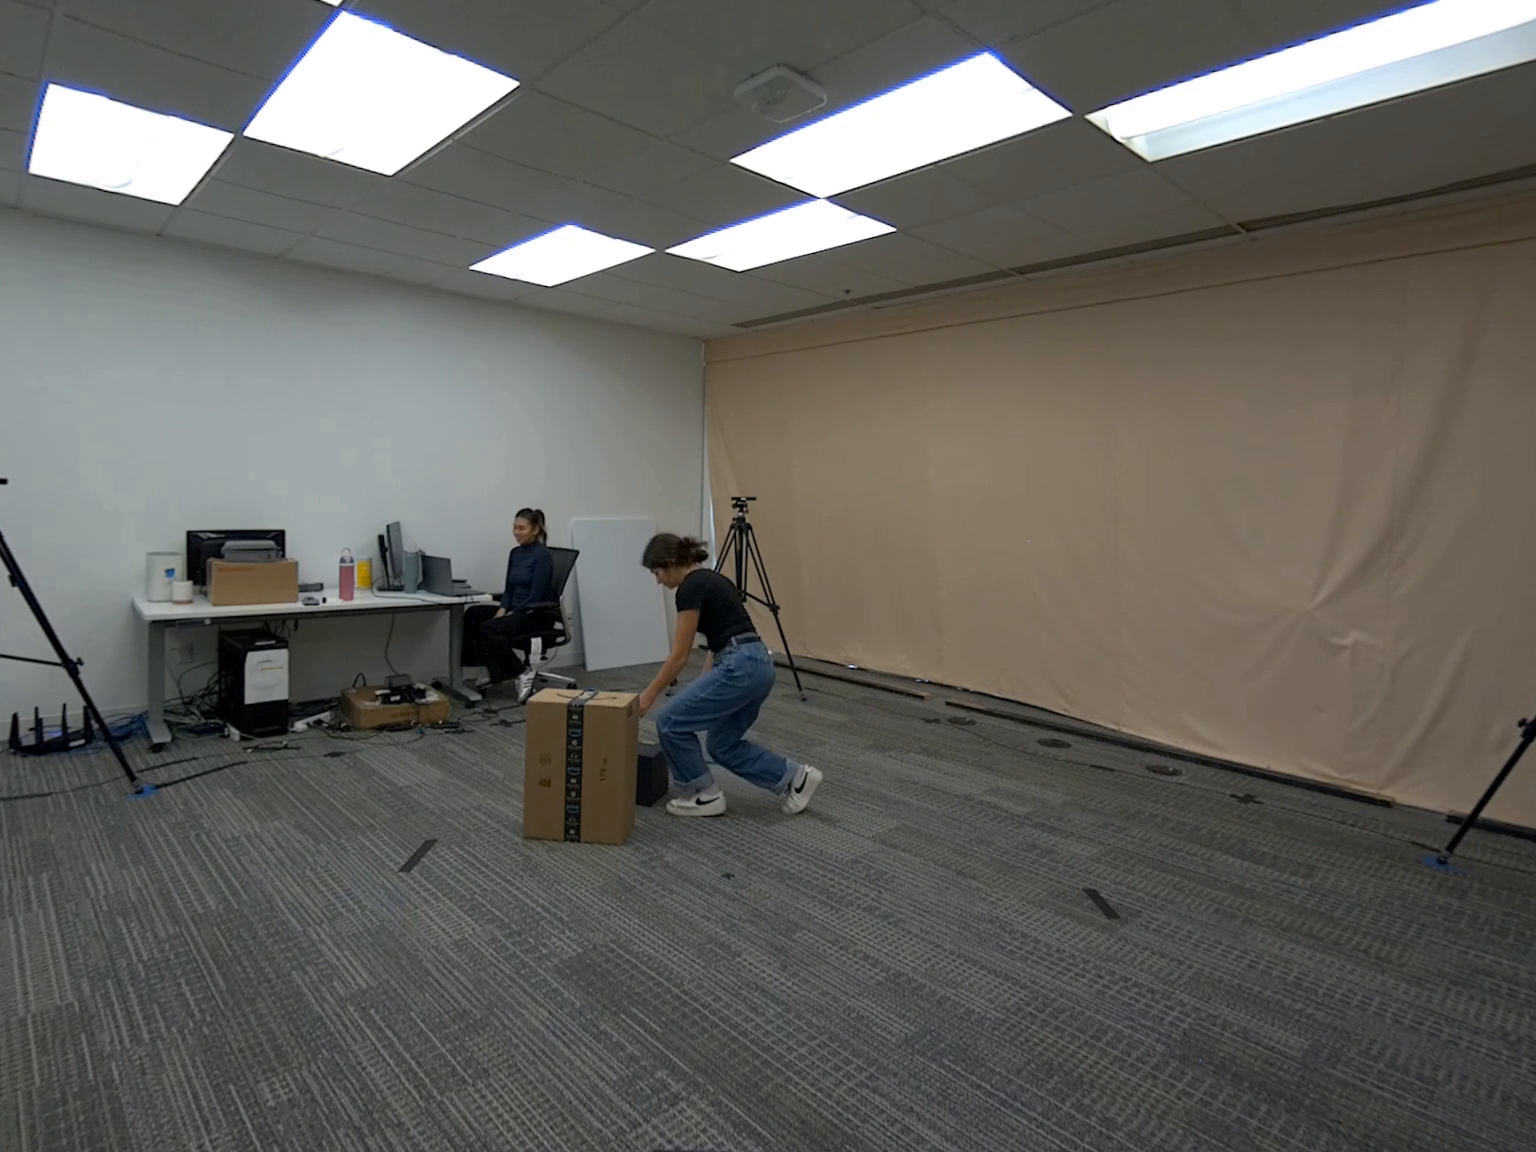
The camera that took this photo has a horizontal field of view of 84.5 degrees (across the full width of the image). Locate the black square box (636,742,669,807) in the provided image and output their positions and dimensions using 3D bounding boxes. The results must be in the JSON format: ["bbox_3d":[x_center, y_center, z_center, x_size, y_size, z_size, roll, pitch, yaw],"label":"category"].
[{"bbox_3d":[-0.570,0.901,3.900,0.158,0.227,0.215,3,4,16],"label":"black square box"}]
